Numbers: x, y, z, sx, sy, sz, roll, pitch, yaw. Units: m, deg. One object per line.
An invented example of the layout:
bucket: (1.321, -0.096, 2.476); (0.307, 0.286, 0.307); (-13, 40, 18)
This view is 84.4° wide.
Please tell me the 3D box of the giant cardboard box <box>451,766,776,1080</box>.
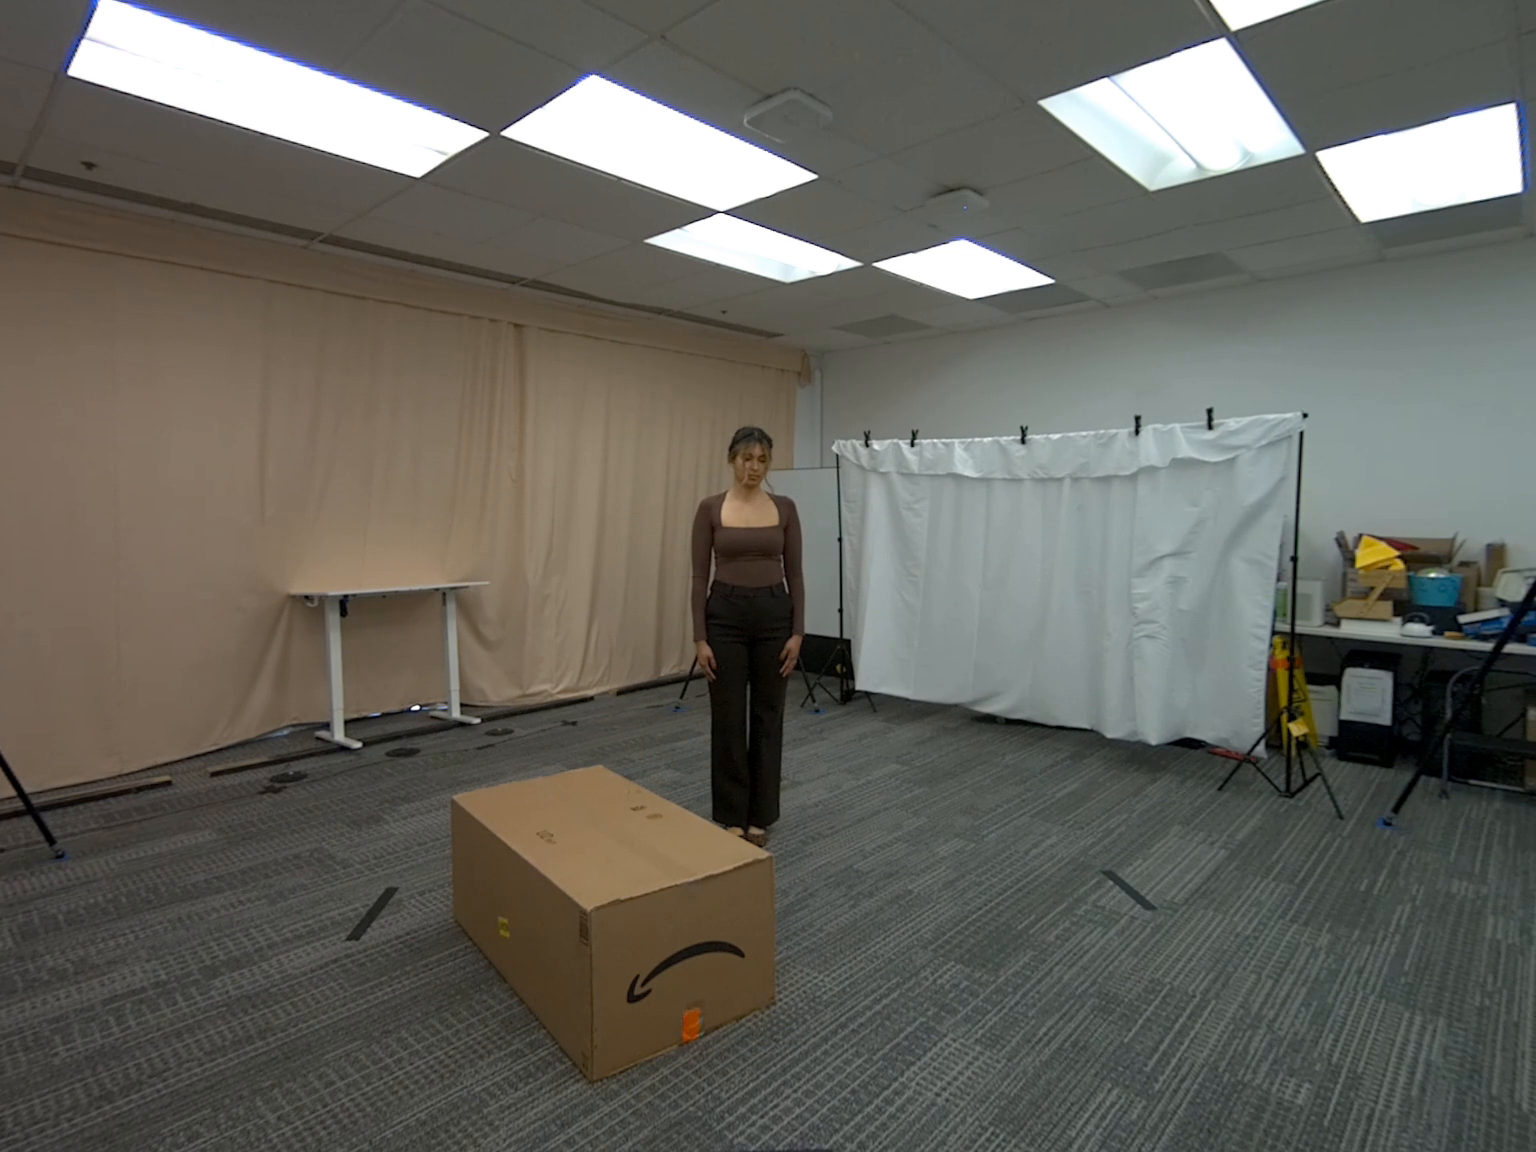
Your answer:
giant cardboard box: (-0.525, 0.970, 2.596); (0.567, 0.446, 1.060); (-4, 5, -37)
